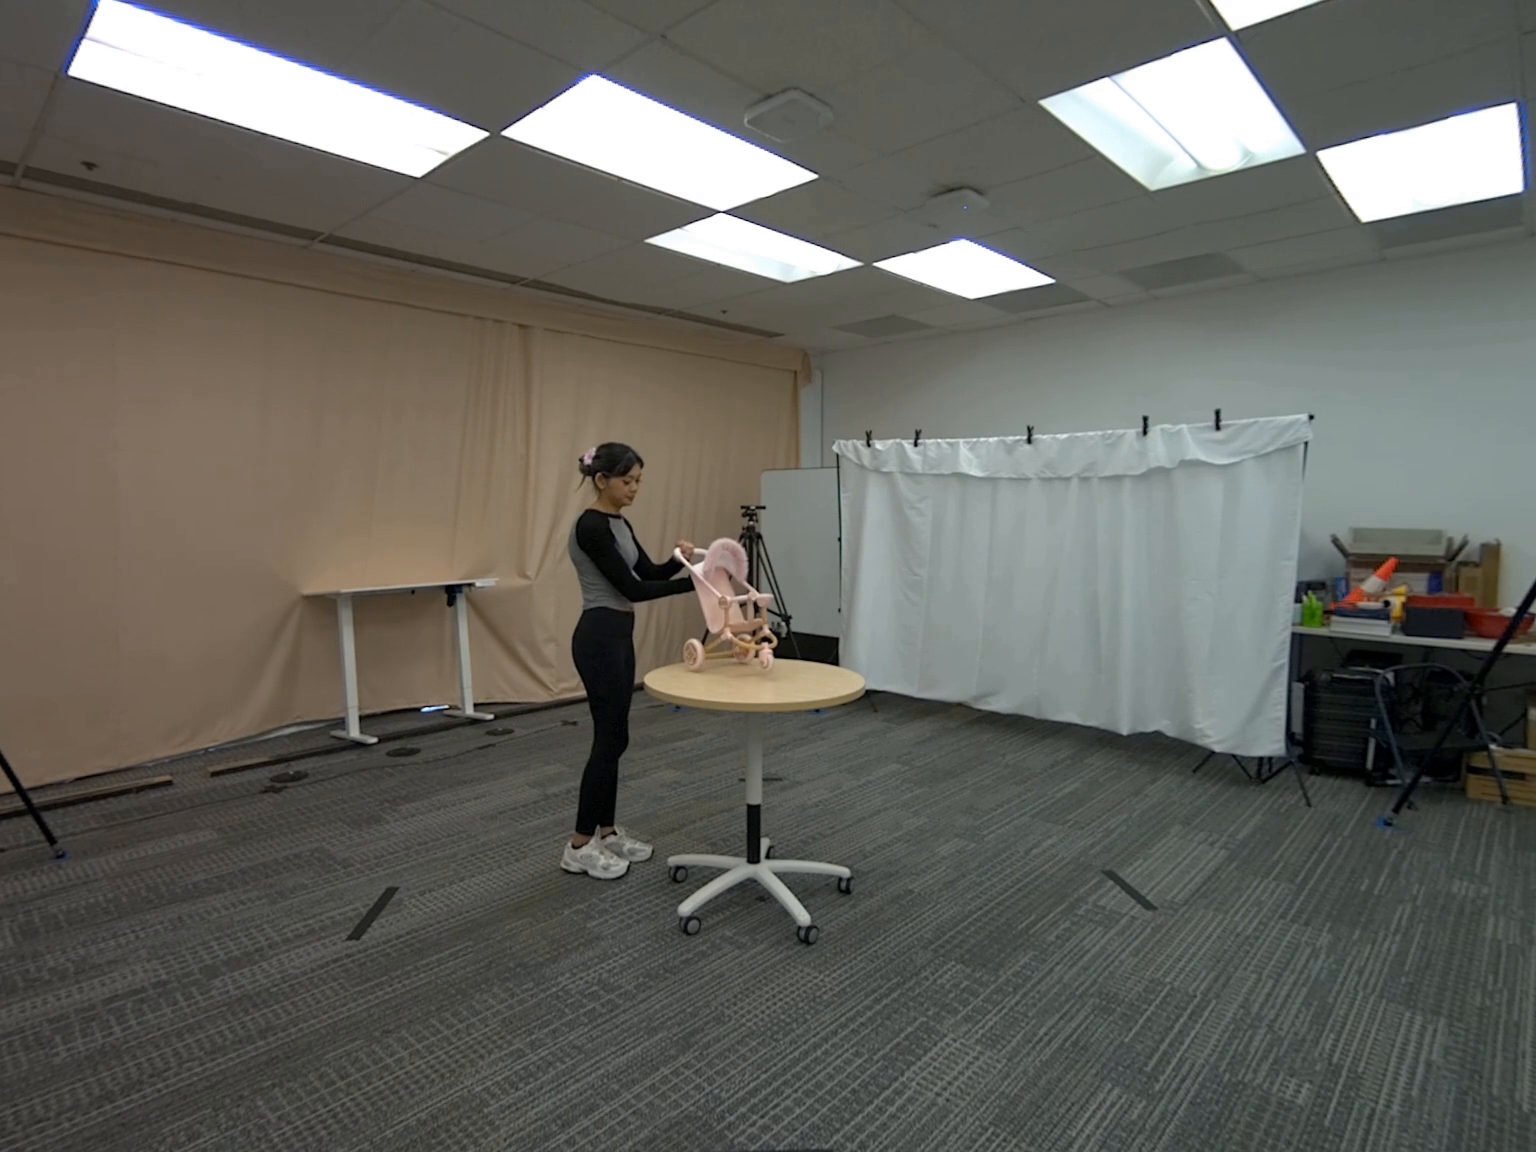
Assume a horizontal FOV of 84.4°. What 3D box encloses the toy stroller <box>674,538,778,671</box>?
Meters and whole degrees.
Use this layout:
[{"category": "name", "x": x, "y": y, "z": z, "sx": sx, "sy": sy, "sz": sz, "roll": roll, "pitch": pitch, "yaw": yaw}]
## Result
[{"category": "toy stroller", "x": -0.135, "y": 0.103, "z": 3.063, "sx": 0.273, "sy": 0.540, "sz": 0.349, "roll": 0, "pitch": -15, "yaw": -40}]
